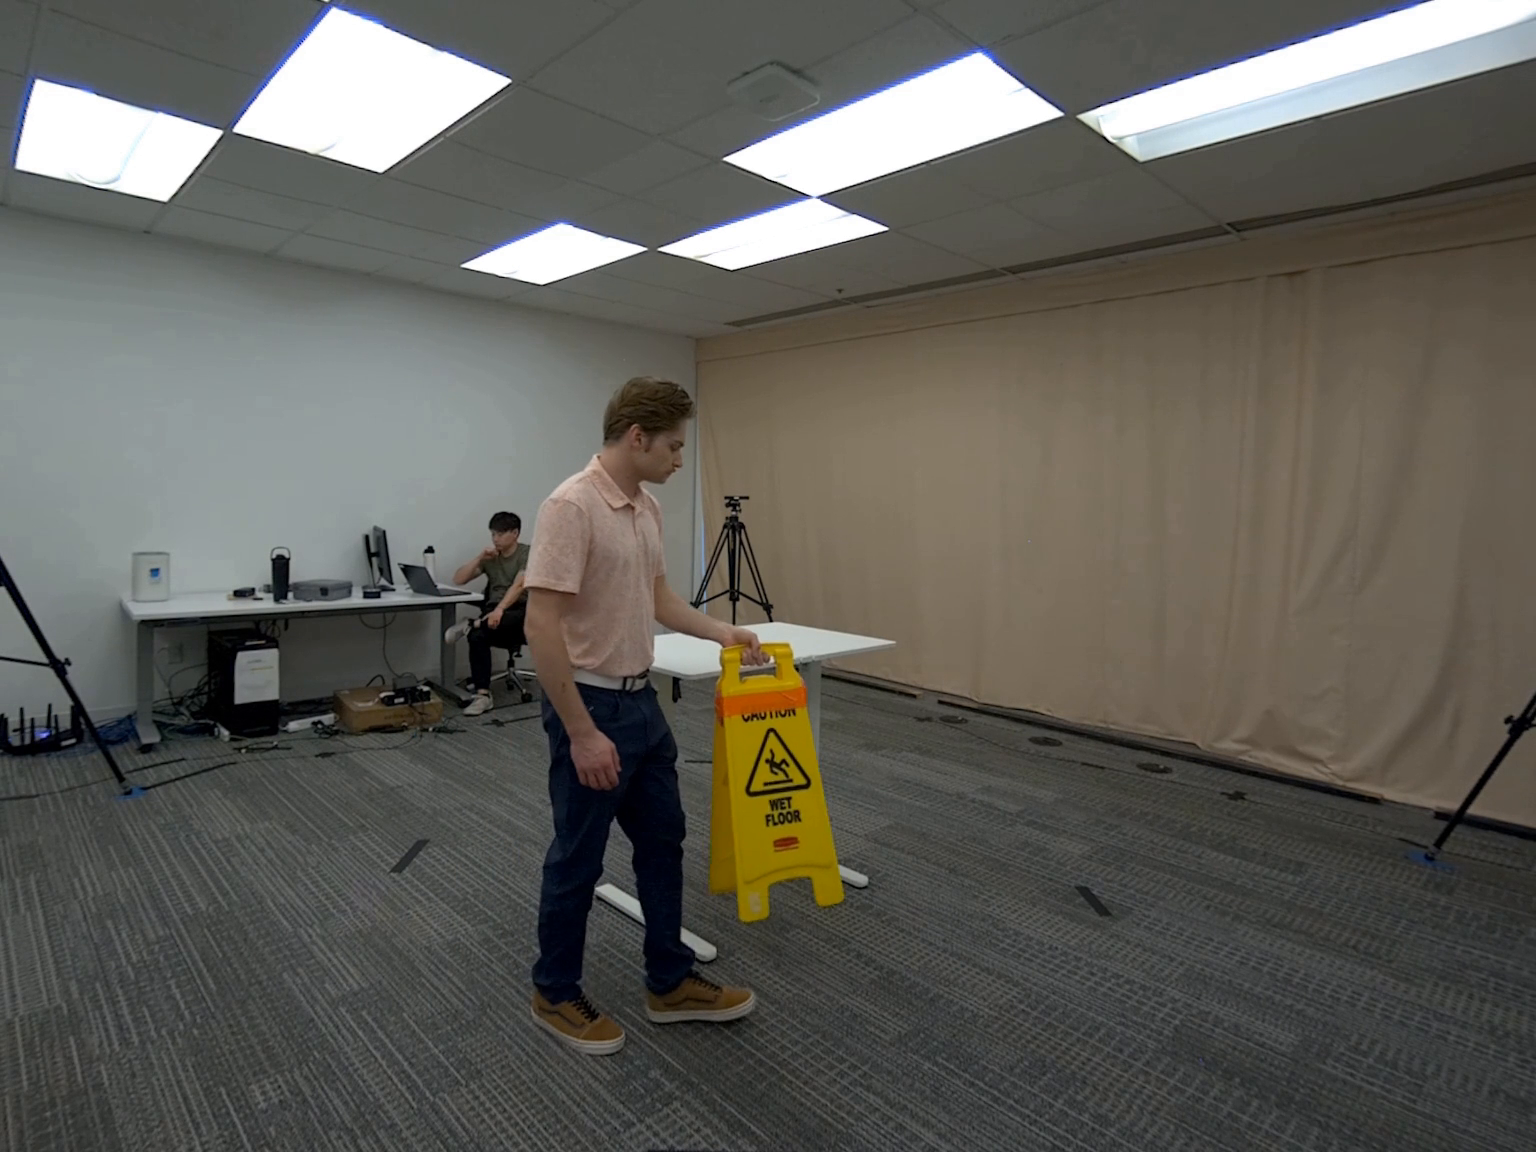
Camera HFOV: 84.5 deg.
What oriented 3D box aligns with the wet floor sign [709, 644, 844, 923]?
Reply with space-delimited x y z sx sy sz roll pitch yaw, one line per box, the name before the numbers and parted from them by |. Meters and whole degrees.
wet floor sign | -0.015 0.511 2.184 0.278 0.649 0.293 -2 -5 -21
